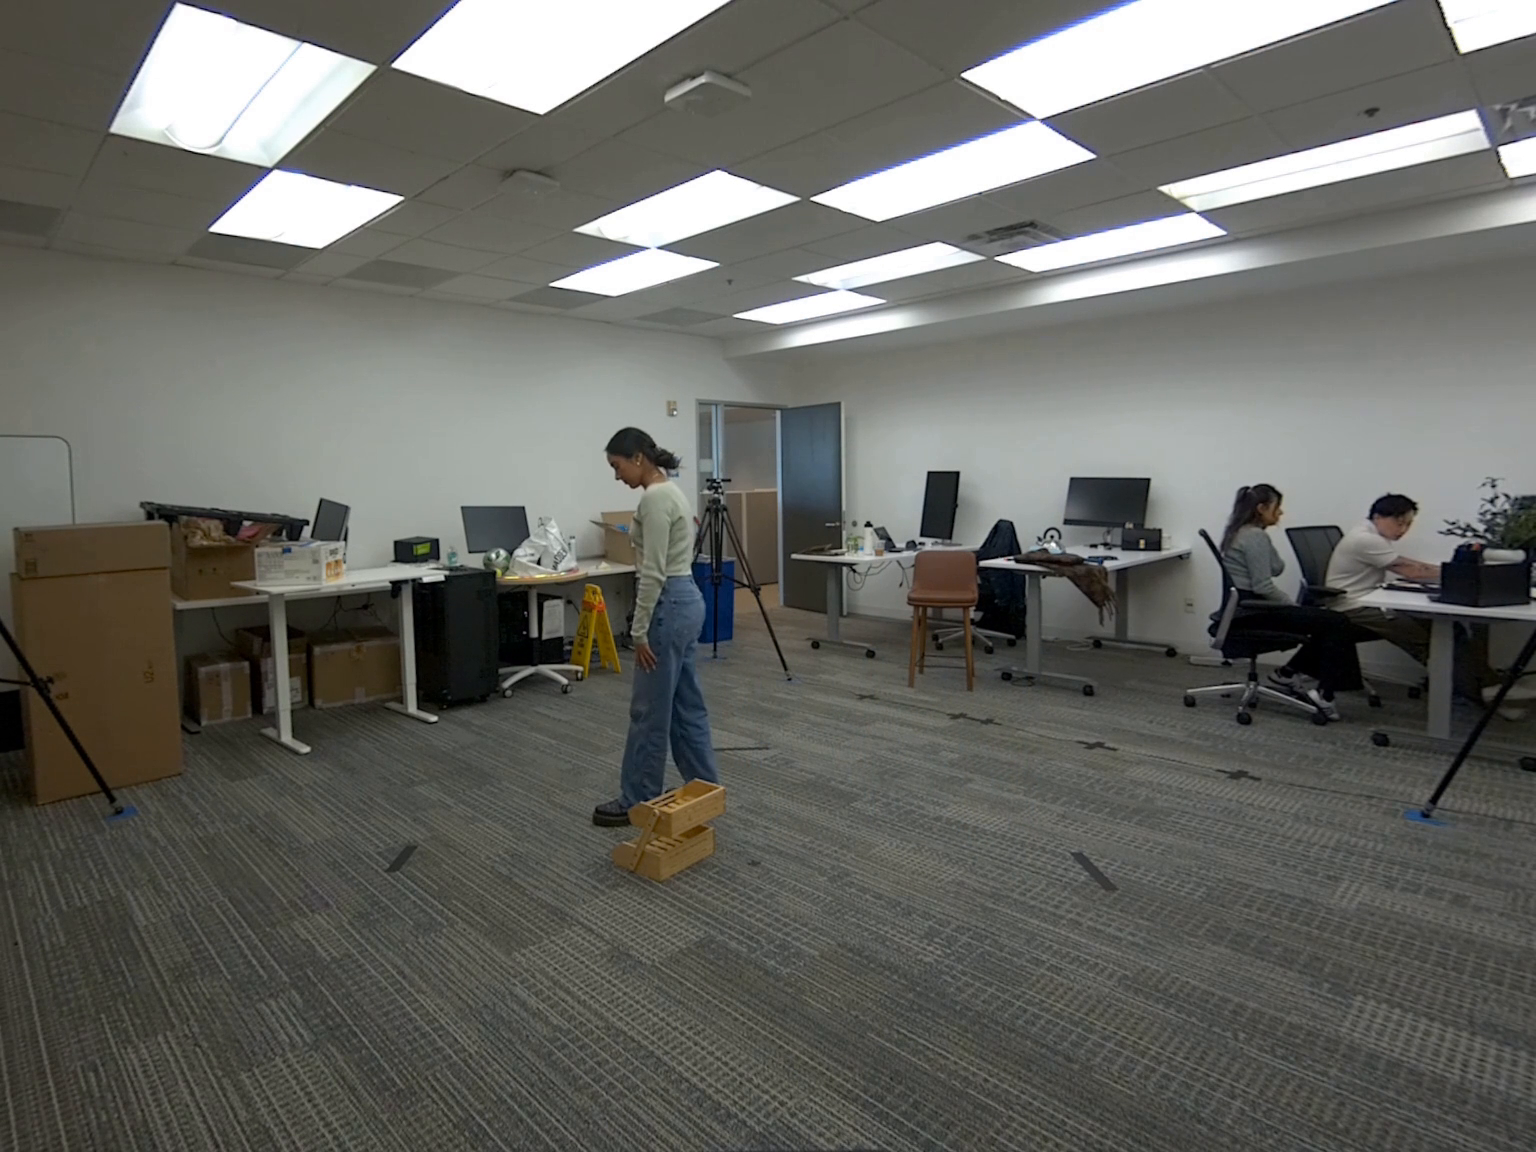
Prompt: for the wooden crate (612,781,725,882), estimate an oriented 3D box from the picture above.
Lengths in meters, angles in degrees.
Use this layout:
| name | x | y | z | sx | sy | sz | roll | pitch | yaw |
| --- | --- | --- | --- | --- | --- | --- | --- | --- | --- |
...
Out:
| name | x | y | z | sx | sy | sz | roll | pitch | yaw |
| --- | --- | --- | --- | --- | --- | --- | --- | --- | --- |
| wooden crate | -0.367 | 0.914 | 3.142 | 0.311 | 0.272 | 0.316 | 4 | 7 | 37 |
